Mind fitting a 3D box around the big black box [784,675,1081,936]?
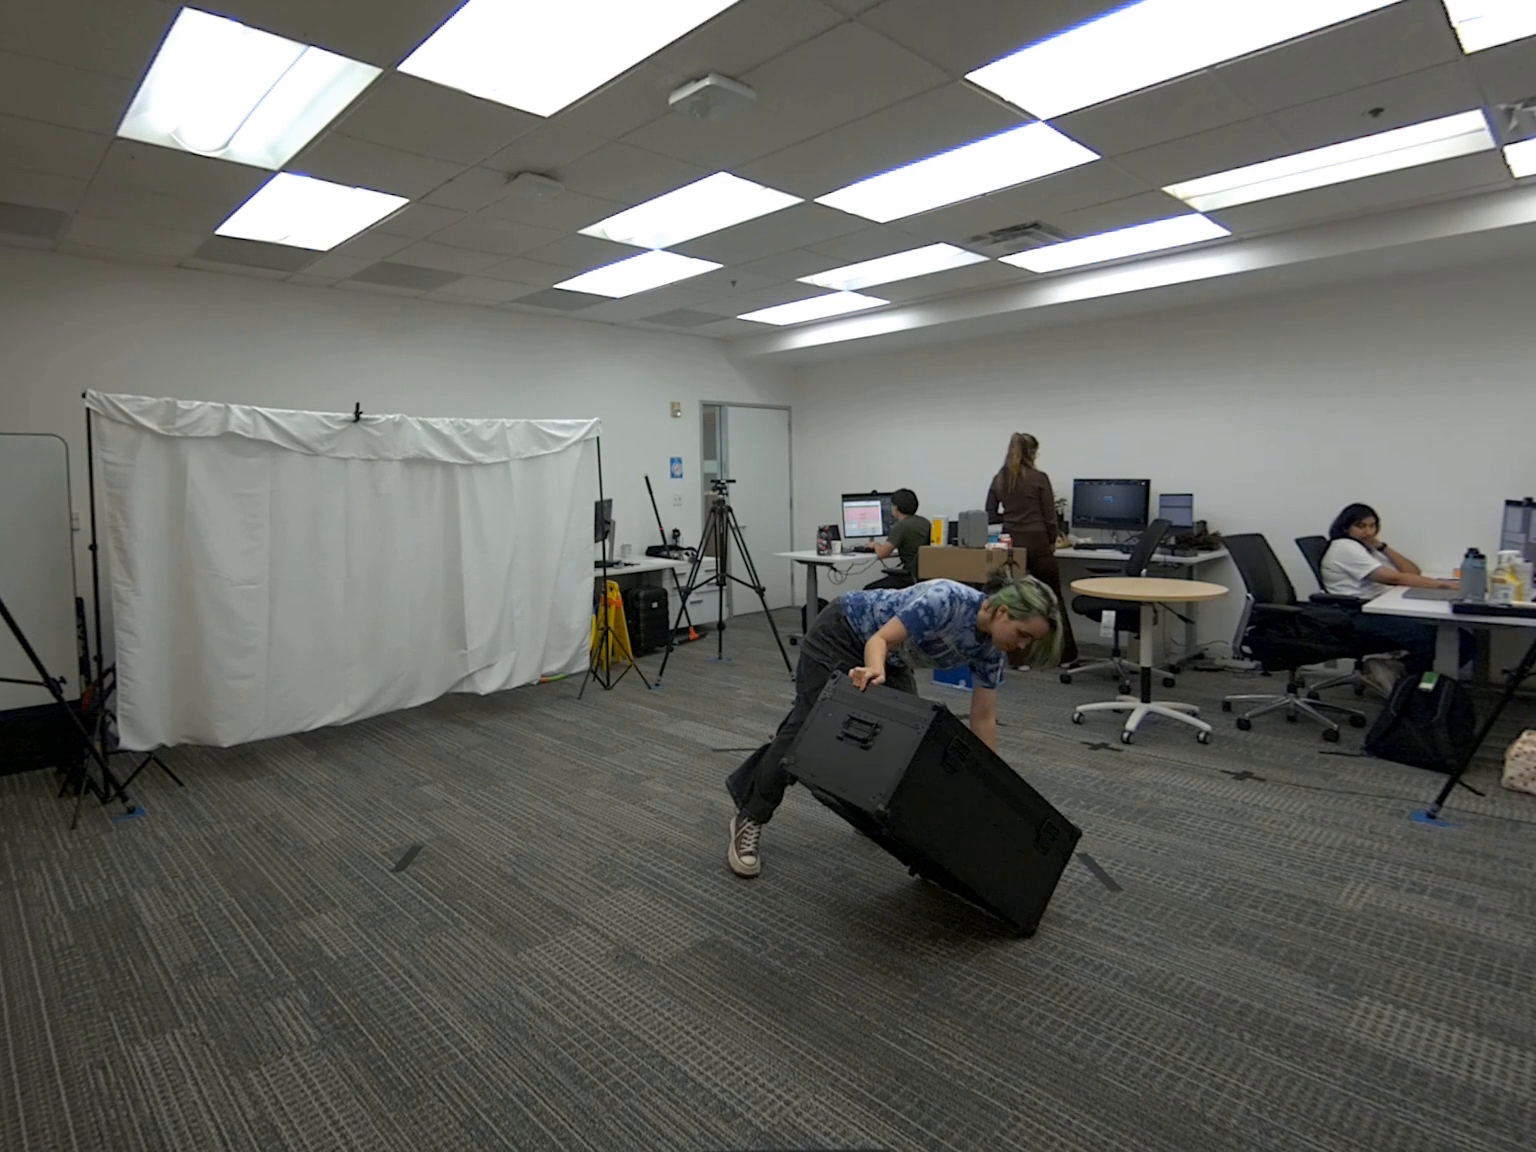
[{"bbox_3d":[0.483,0.692,2.649,0.835,0.397,0.536,43,-17,-26],"label":"big black box"}]
